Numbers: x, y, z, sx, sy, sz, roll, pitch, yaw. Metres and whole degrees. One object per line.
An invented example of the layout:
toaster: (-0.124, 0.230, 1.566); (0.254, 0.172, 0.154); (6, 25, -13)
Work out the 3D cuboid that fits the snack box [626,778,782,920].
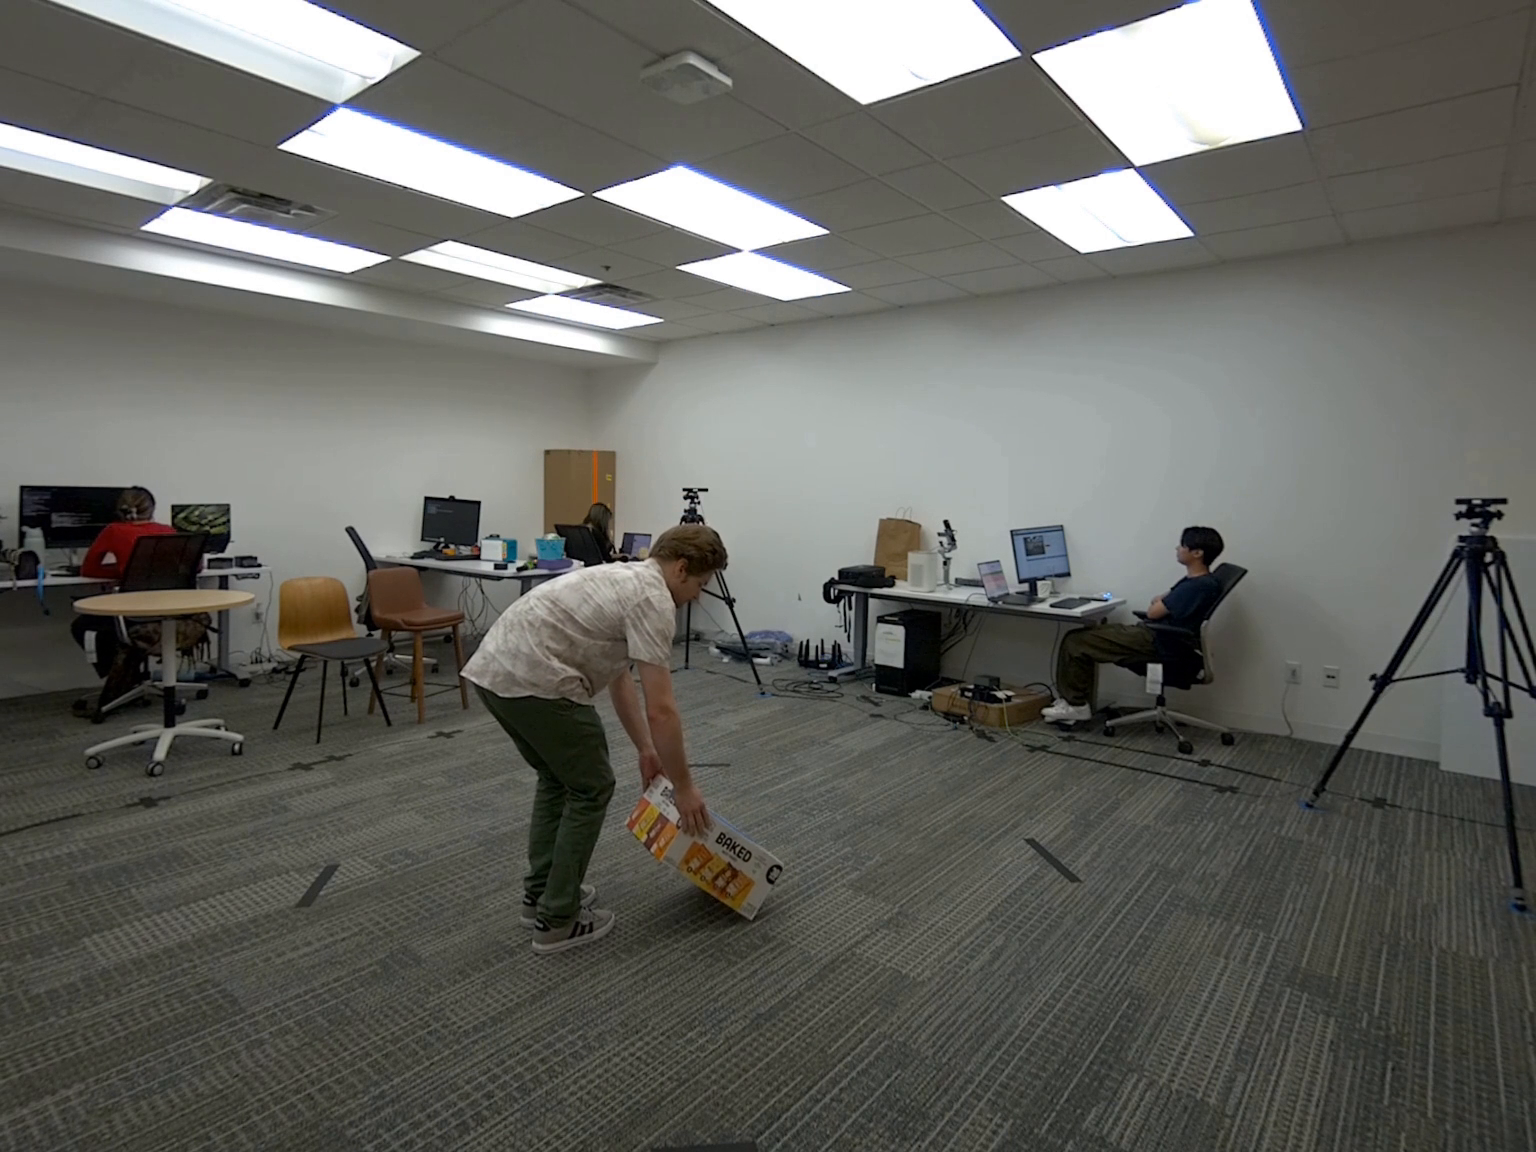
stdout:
snack box: (-0.225, 0.888, 2.825); (0.393, 0.206, 0.350); (41, -14, -23)
